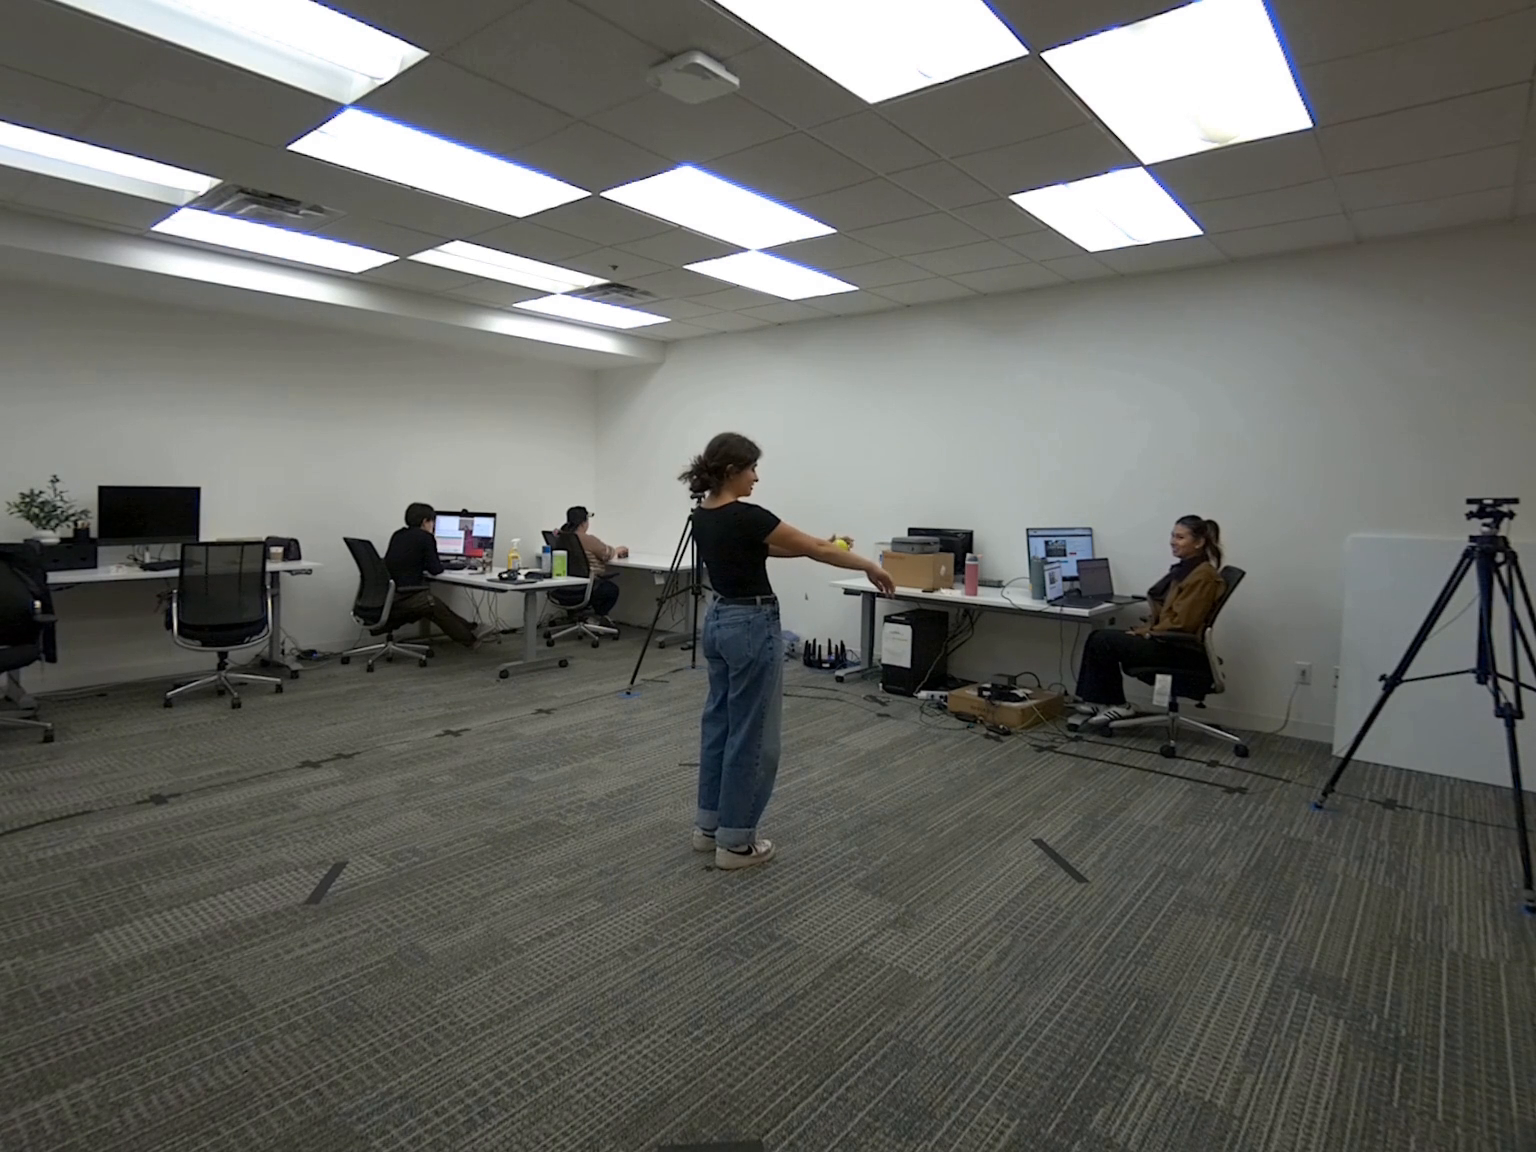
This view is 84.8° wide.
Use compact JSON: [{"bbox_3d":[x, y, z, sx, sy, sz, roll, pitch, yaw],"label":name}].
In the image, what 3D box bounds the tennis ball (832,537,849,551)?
[{"bbox_3d":[0.236,-0.139,3.202,0.066,0.066,0.067,1,4,-2],"label":"tennis ball"}]
